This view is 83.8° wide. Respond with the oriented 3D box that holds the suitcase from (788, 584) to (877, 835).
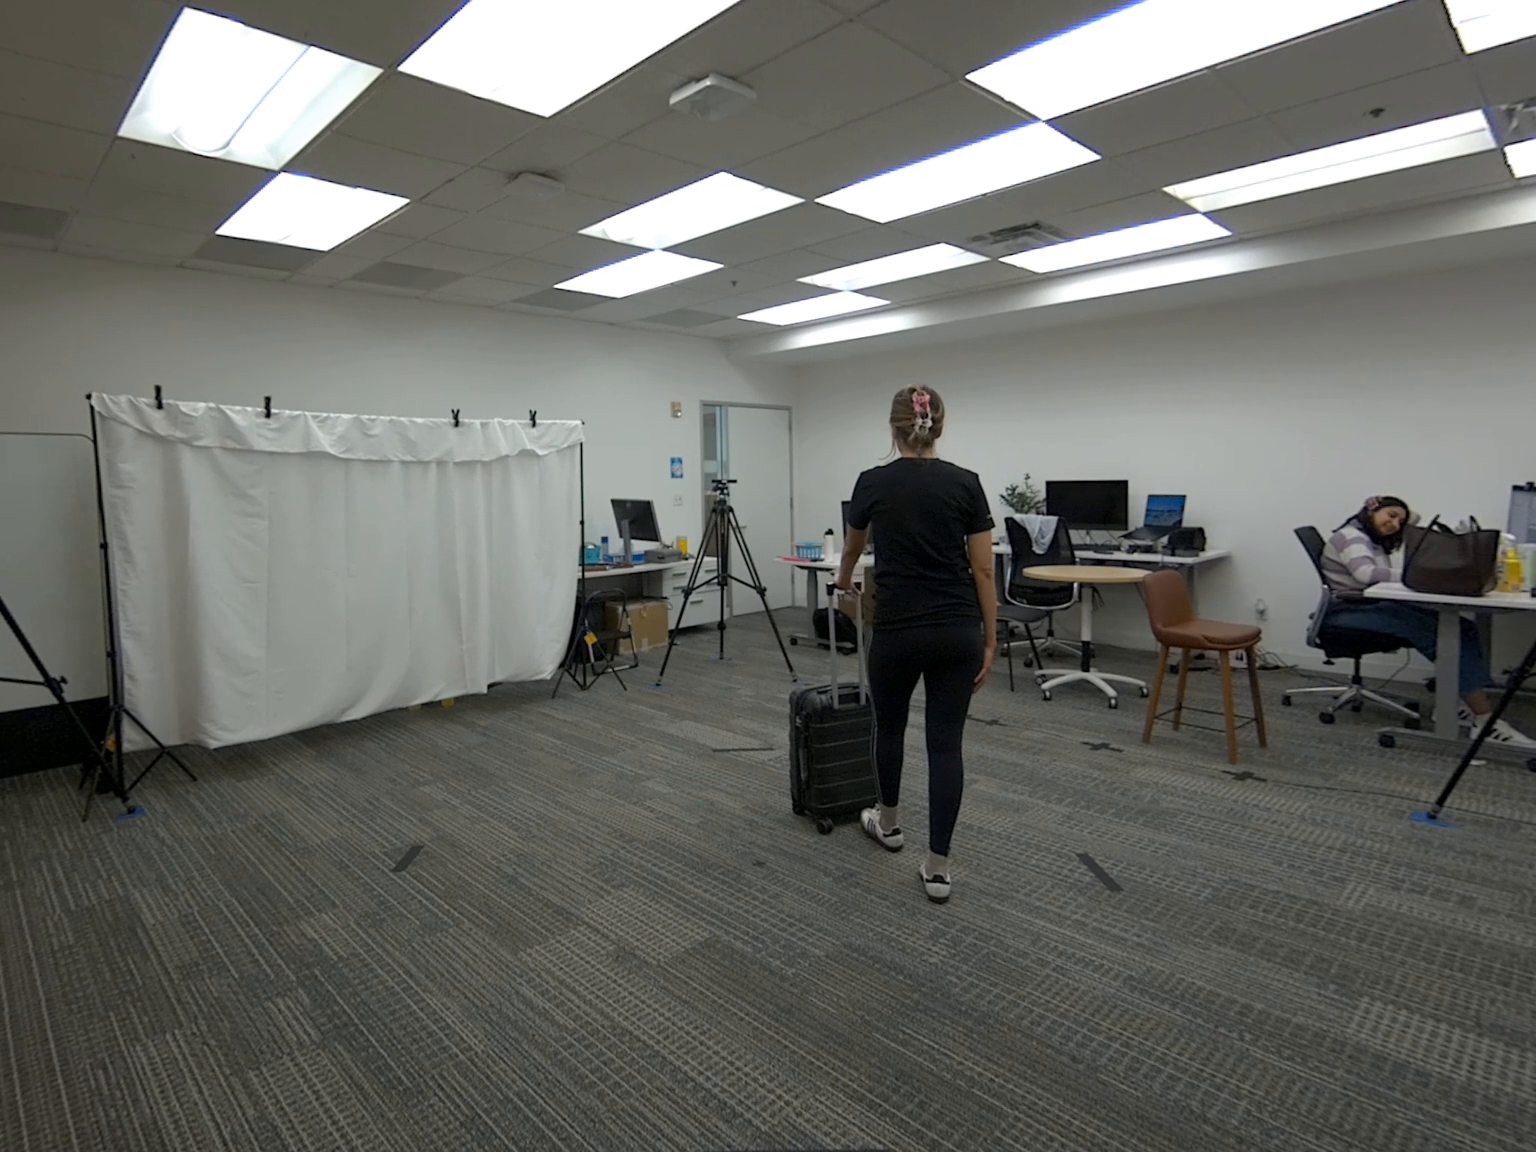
[{"bbox_3d":[0.272,0.518,3.537,0.377,0.978,0.262,-3,1,-22],"label":"suitcase"}]
